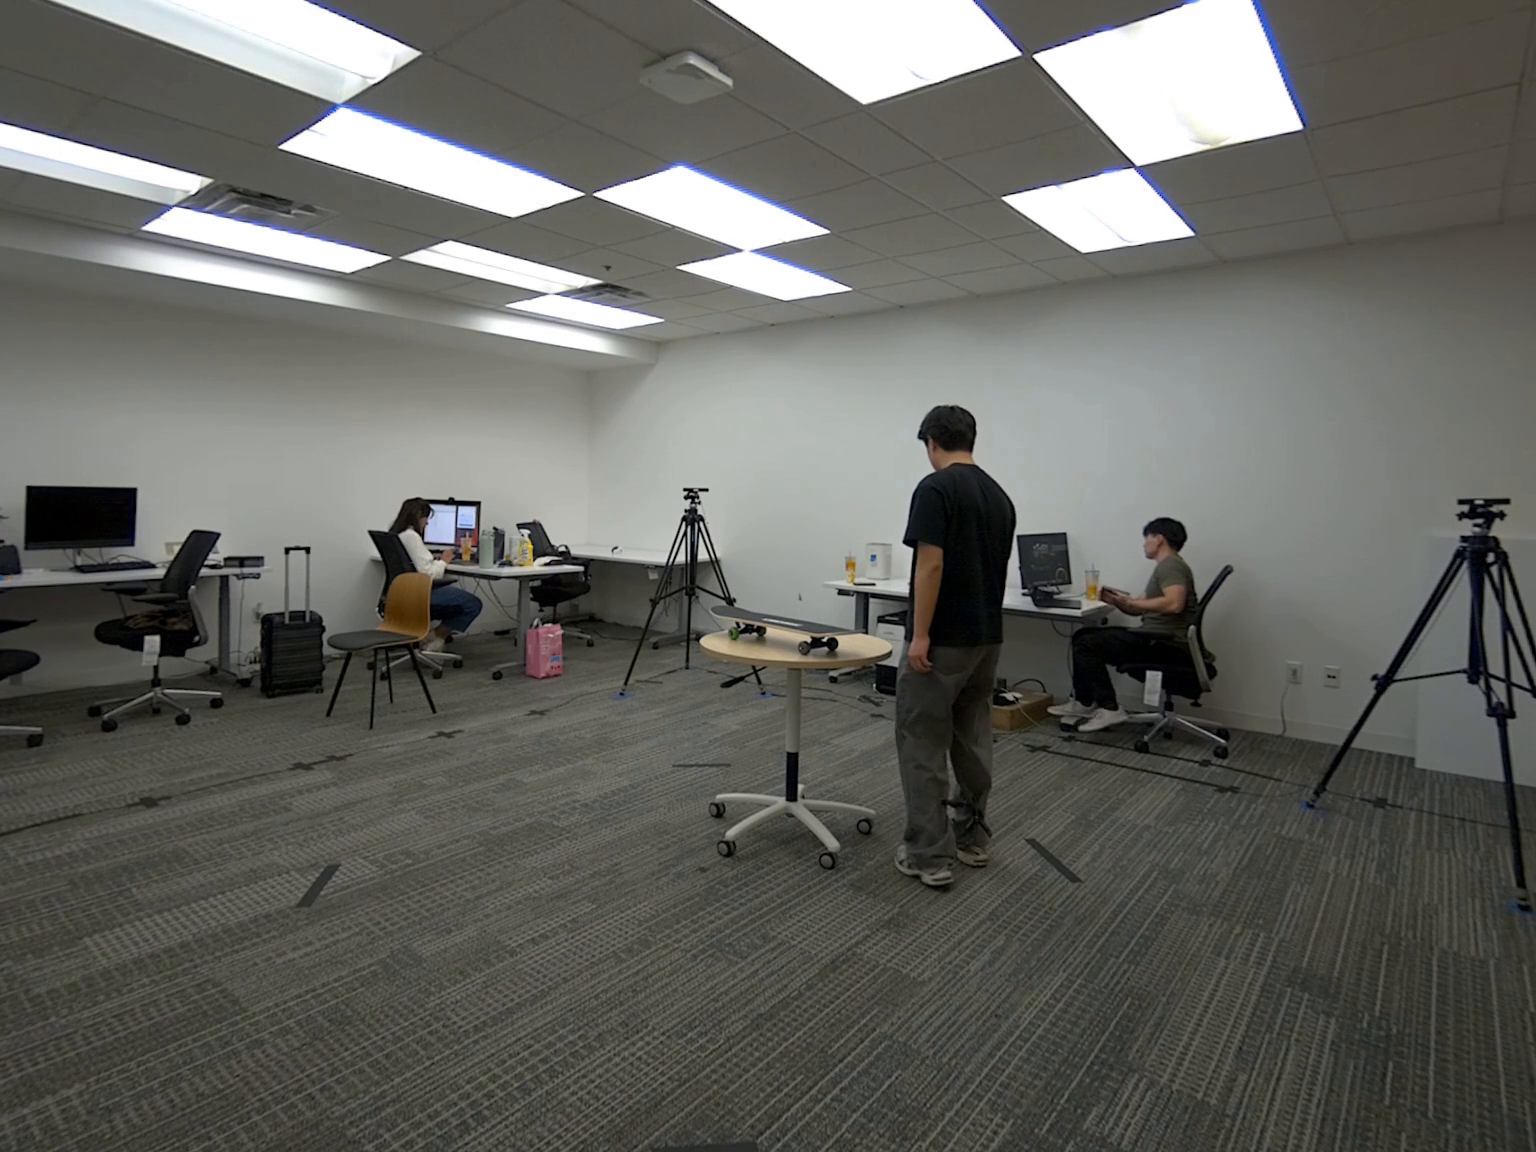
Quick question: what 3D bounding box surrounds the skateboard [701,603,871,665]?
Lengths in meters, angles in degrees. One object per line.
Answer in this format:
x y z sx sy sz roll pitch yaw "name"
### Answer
0.044 0.216 3.335 0.187 0.110 0.812 -1 6 -39 "skateboard"
